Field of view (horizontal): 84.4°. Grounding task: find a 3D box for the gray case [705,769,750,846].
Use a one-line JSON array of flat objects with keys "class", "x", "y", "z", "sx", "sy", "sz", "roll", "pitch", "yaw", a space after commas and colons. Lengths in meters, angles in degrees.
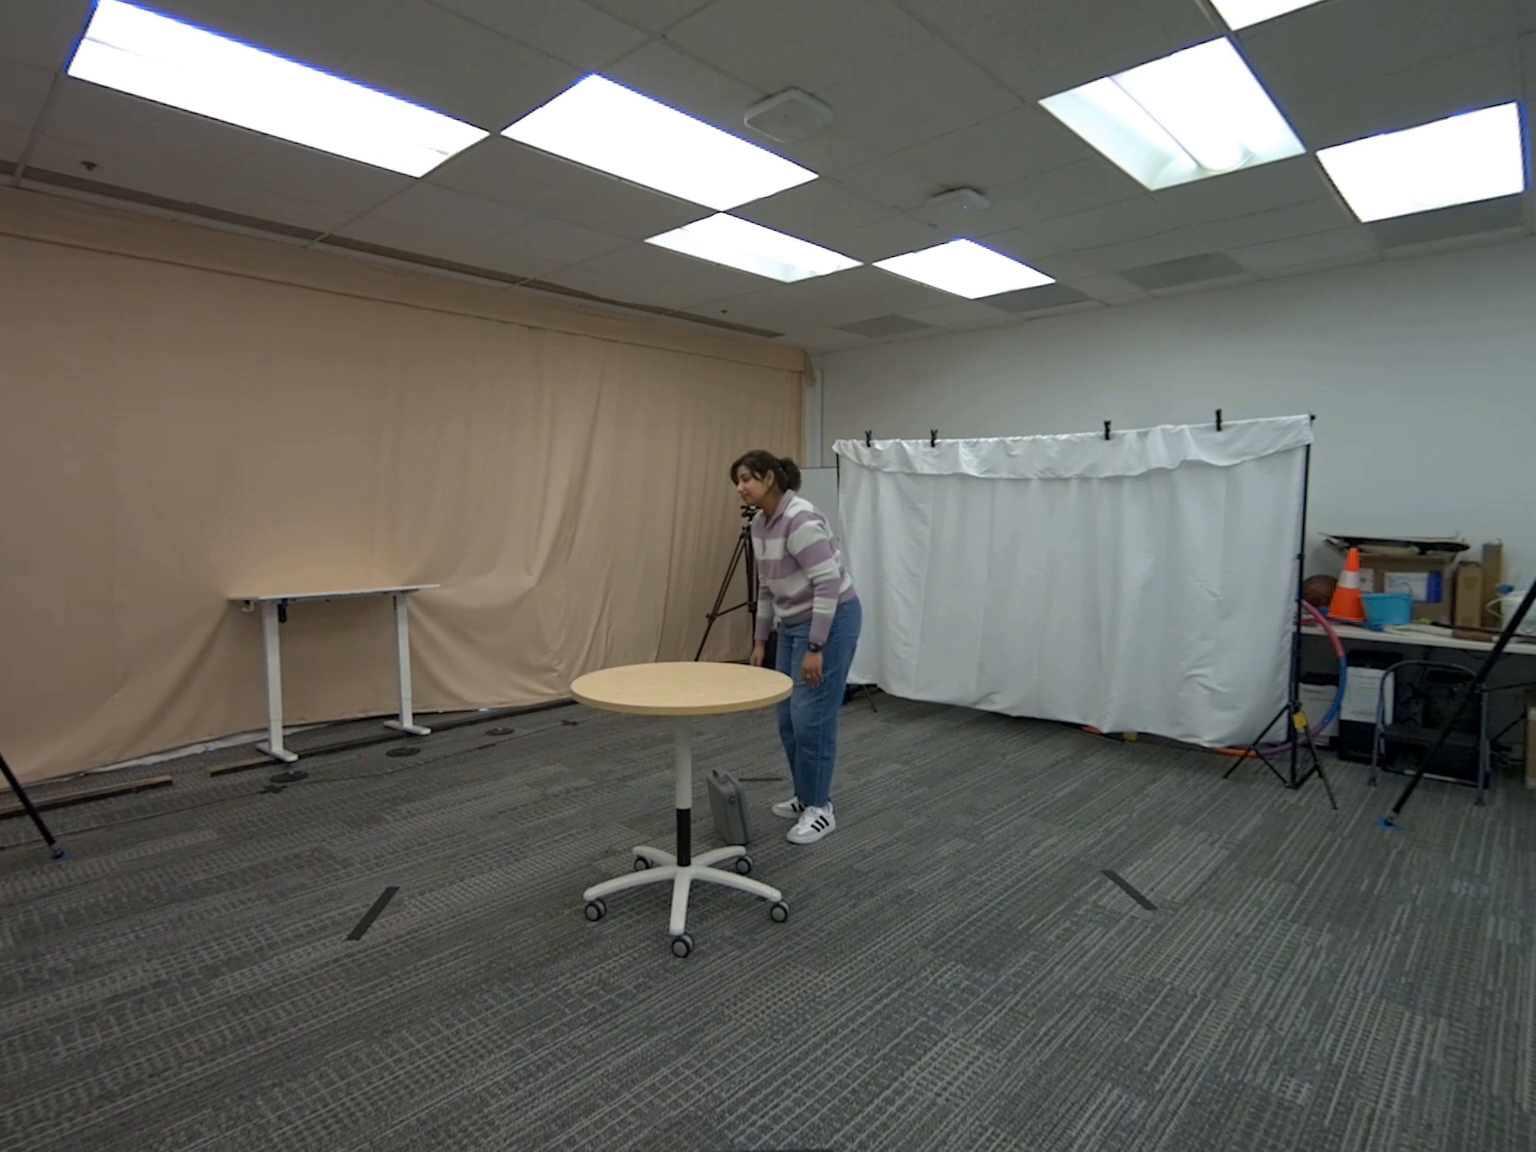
[{"class": "gray case", "x": -0.159, "y": 0.963, "z": 3.536, "sx": 0.103, "sy": 0.259, "sz": 0.262, "roll": -11, "pitch": 7, "yaw": -18}]
